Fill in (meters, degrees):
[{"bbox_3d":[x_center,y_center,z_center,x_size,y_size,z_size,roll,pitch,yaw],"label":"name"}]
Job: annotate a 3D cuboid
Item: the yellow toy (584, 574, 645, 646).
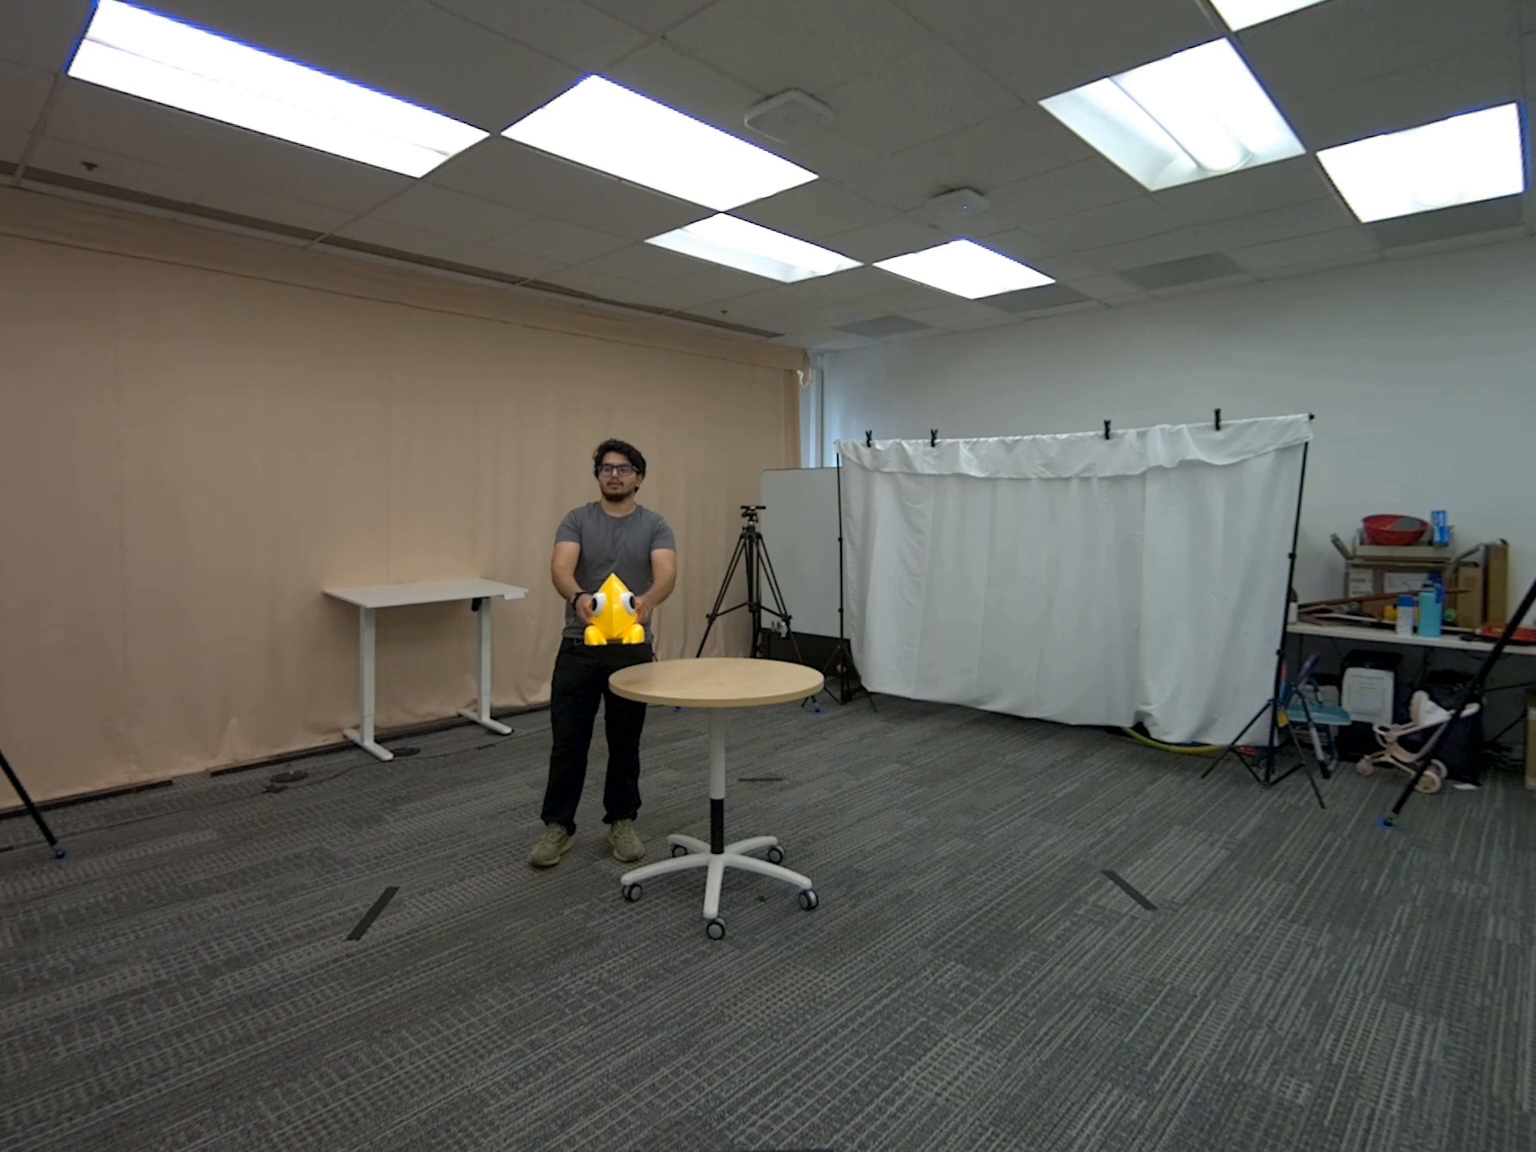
[{"bbox_3d":[-0.521,0.109,2.850,0.203,0.231,0.194,-1,-1,-8],"label":"yellow toy"}]
